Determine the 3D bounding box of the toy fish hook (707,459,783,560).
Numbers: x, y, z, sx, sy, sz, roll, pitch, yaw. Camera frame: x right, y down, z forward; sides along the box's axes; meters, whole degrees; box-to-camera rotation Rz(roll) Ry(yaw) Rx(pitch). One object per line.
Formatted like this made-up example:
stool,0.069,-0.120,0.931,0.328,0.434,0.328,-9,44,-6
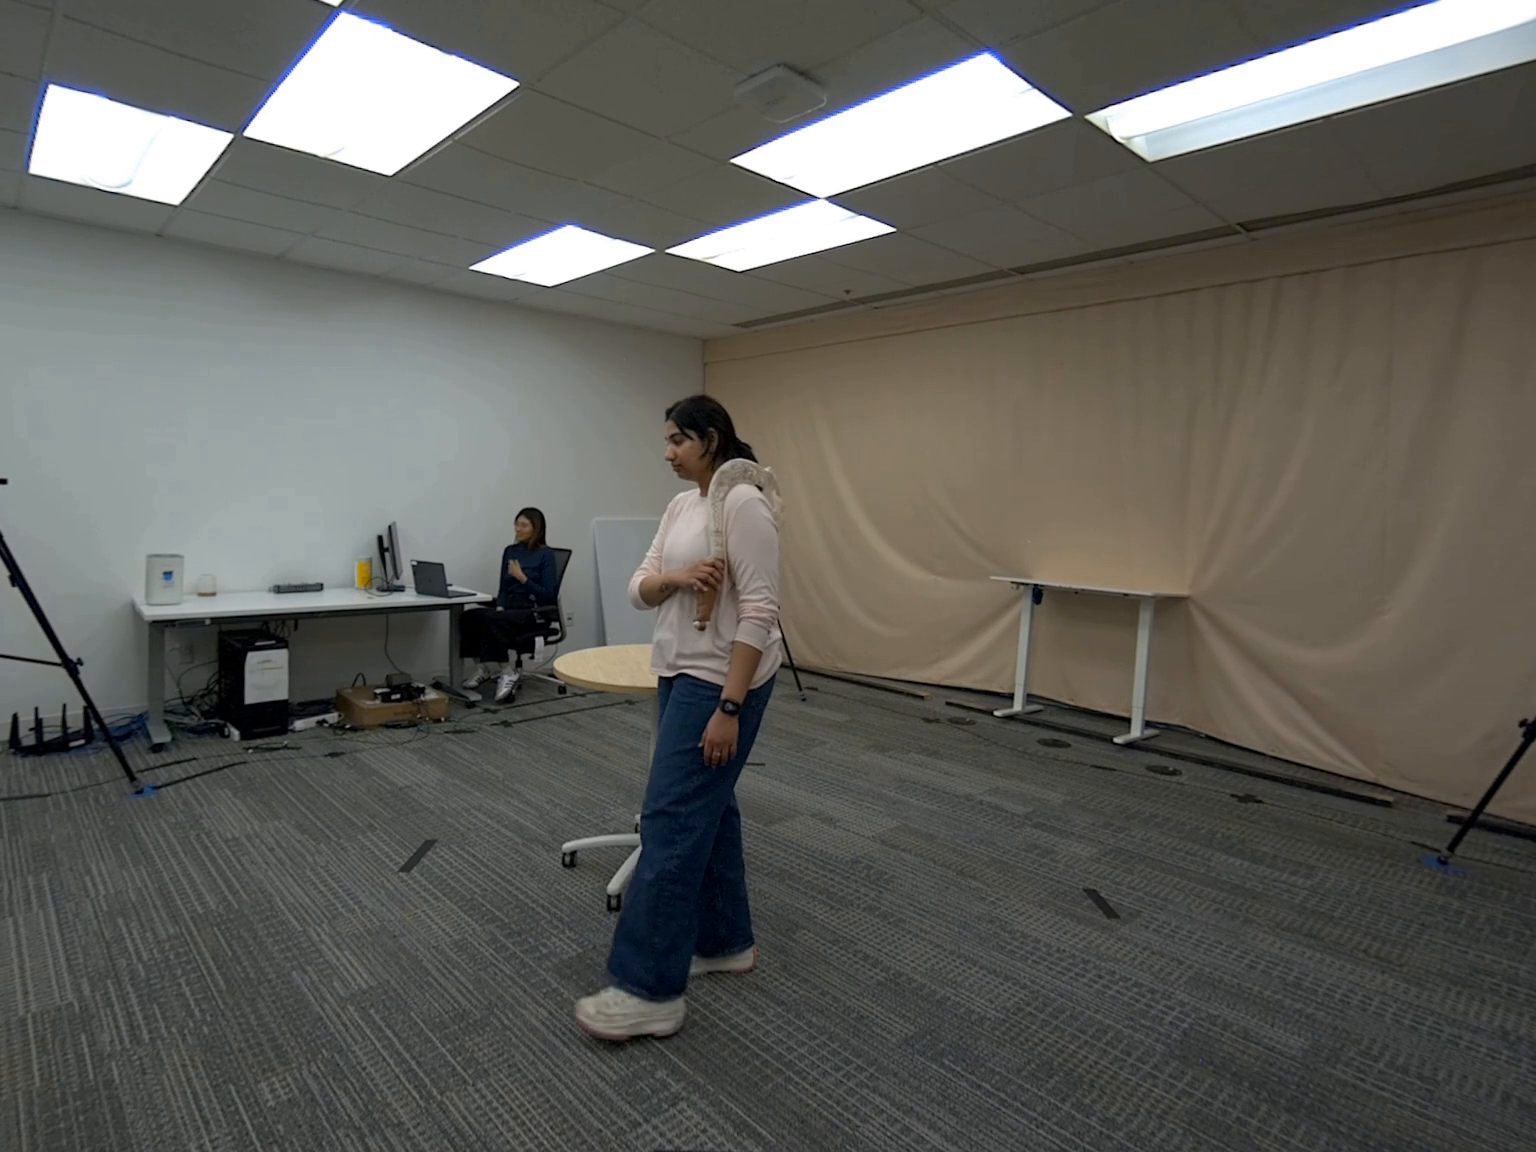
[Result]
toy fish hook,-0.085,-0.074,2.270,0.221,0.511,0.048,16,-19,-14
